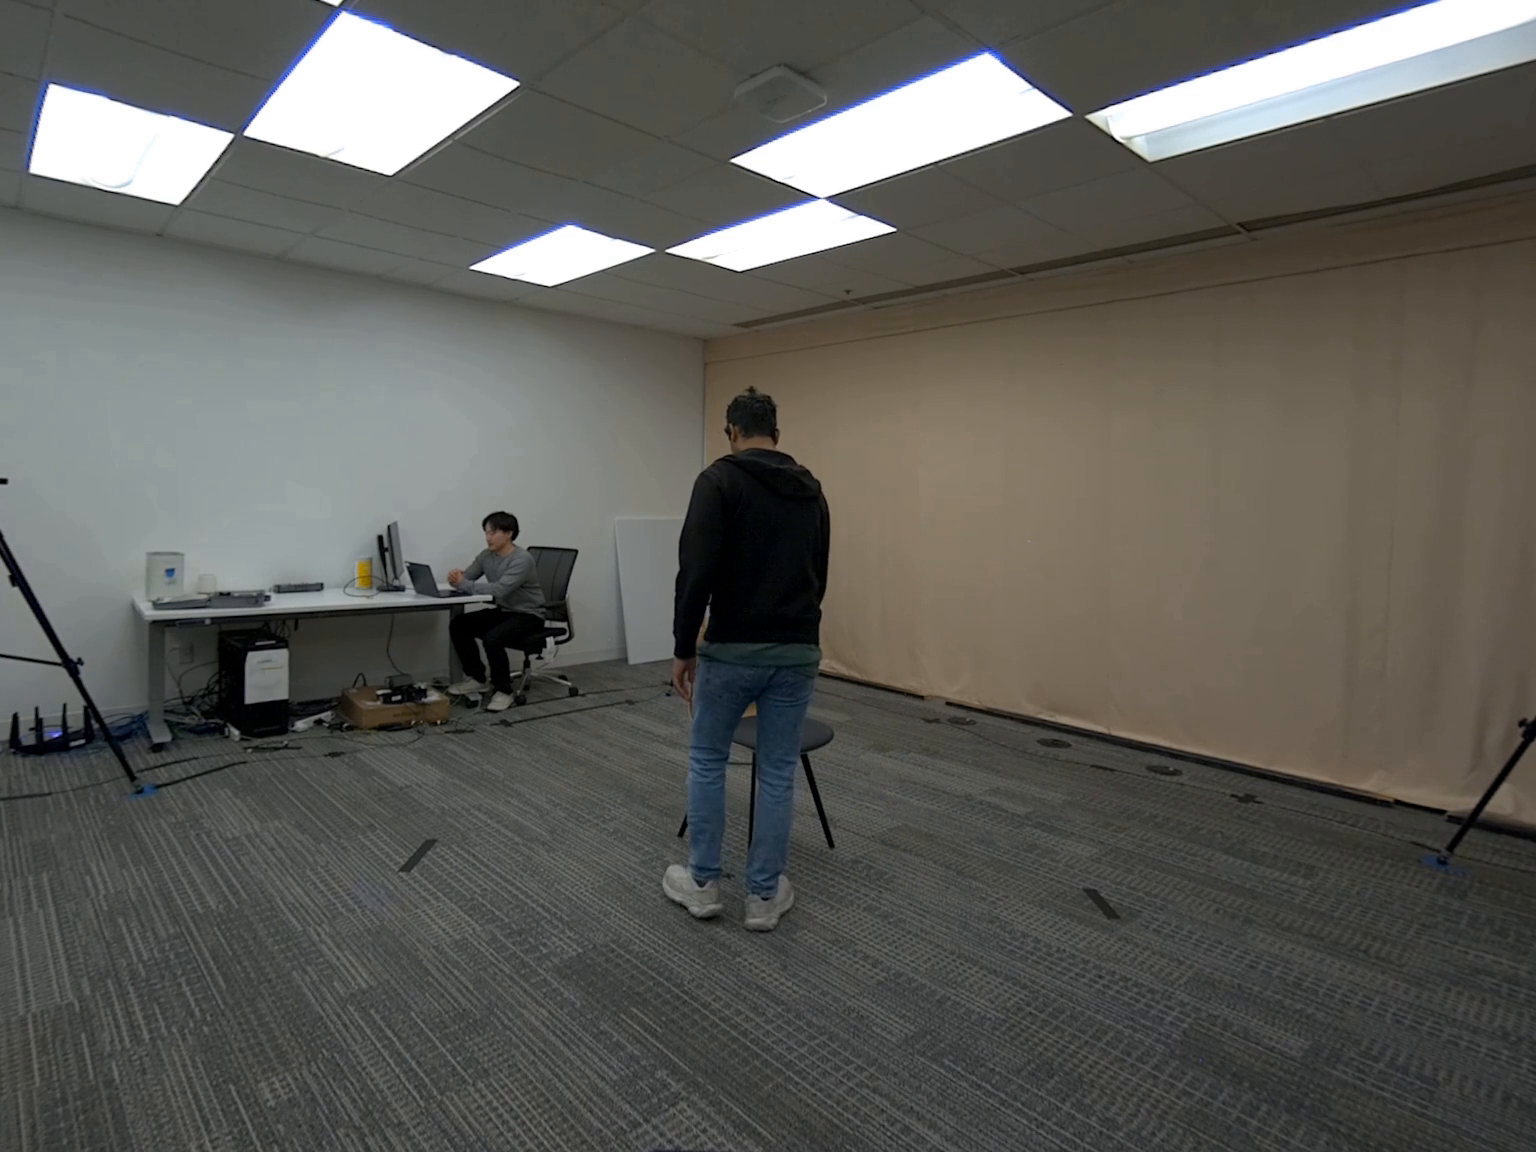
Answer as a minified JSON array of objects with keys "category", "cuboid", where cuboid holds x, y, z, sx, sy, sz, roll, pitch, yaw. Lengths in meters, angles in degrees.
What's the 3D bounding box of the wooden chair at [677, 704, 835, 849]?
[{"category":"wooden chair","cuboid":[-0.042,0.661,3.381,0.467,0.878,0.535,0,-1,-40]}]
